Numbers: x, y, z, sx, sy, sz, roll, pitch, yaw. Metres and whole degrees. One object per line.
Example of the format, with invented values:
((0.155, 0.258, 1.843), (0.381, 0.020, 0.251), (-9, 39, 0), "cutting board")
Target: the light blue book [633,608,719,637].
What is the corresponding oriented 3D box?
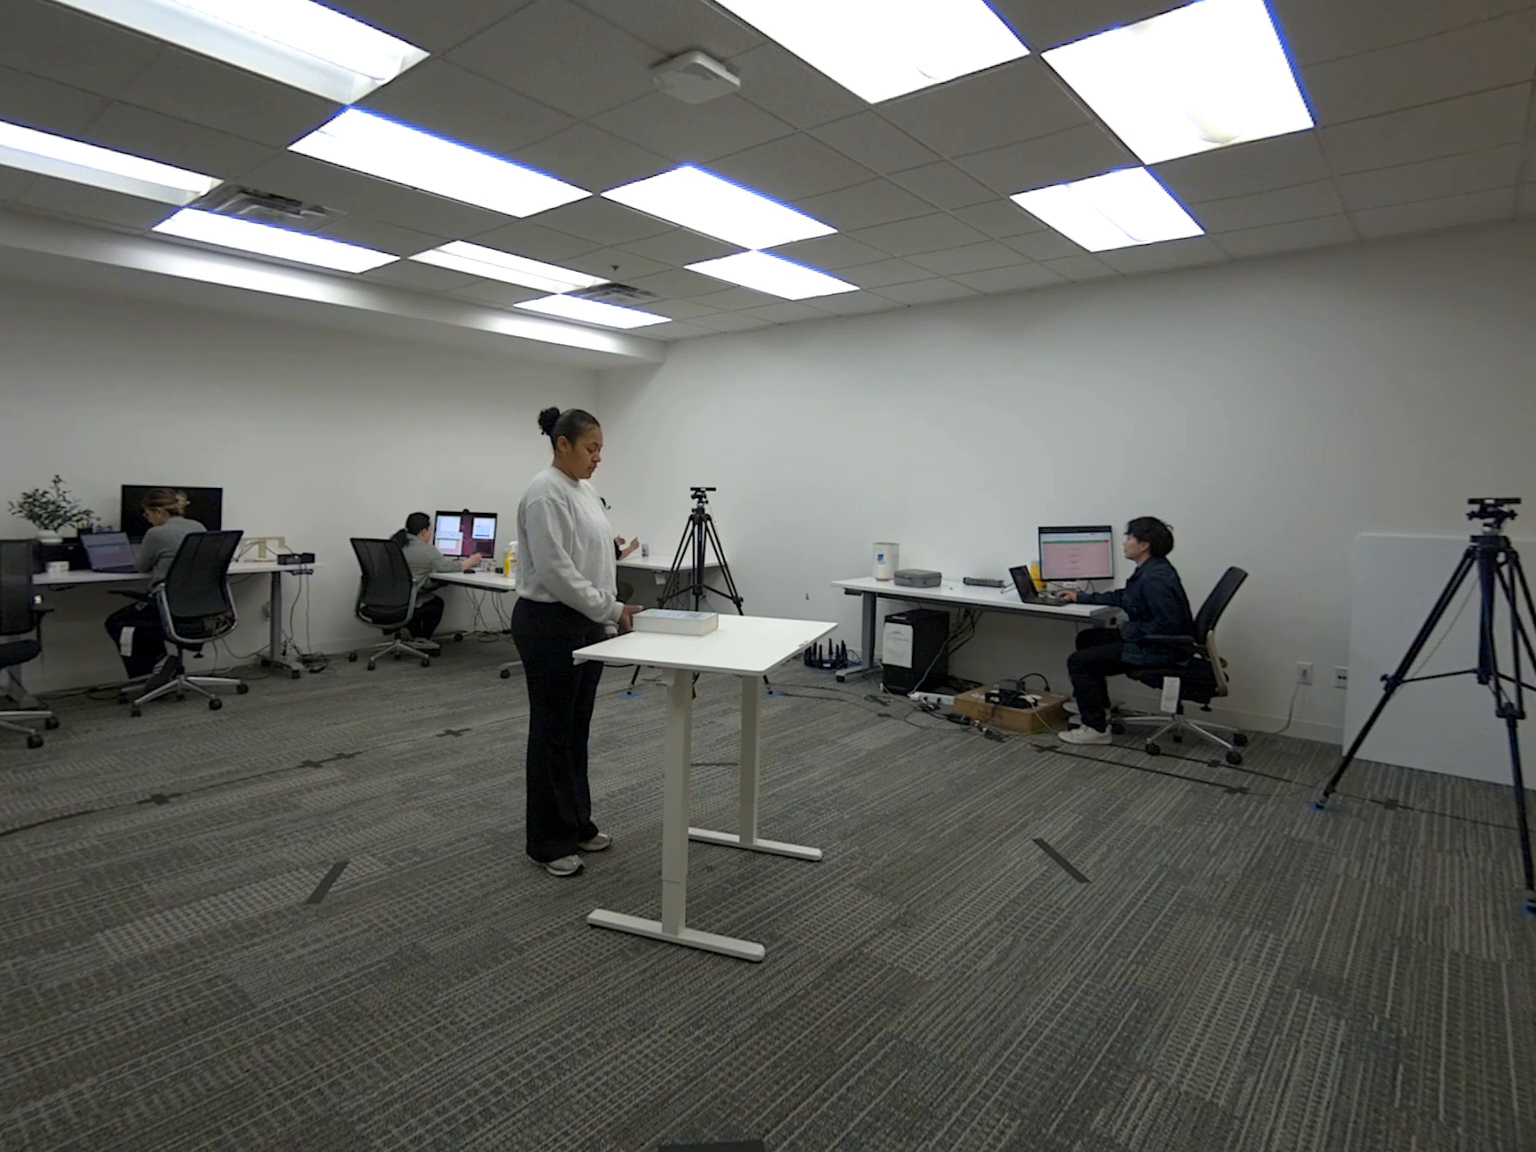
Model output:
((-0.331, 0.162, 3.010), (0.265, 0.059, 0.189), (3, 5, 15), "light blue book")
